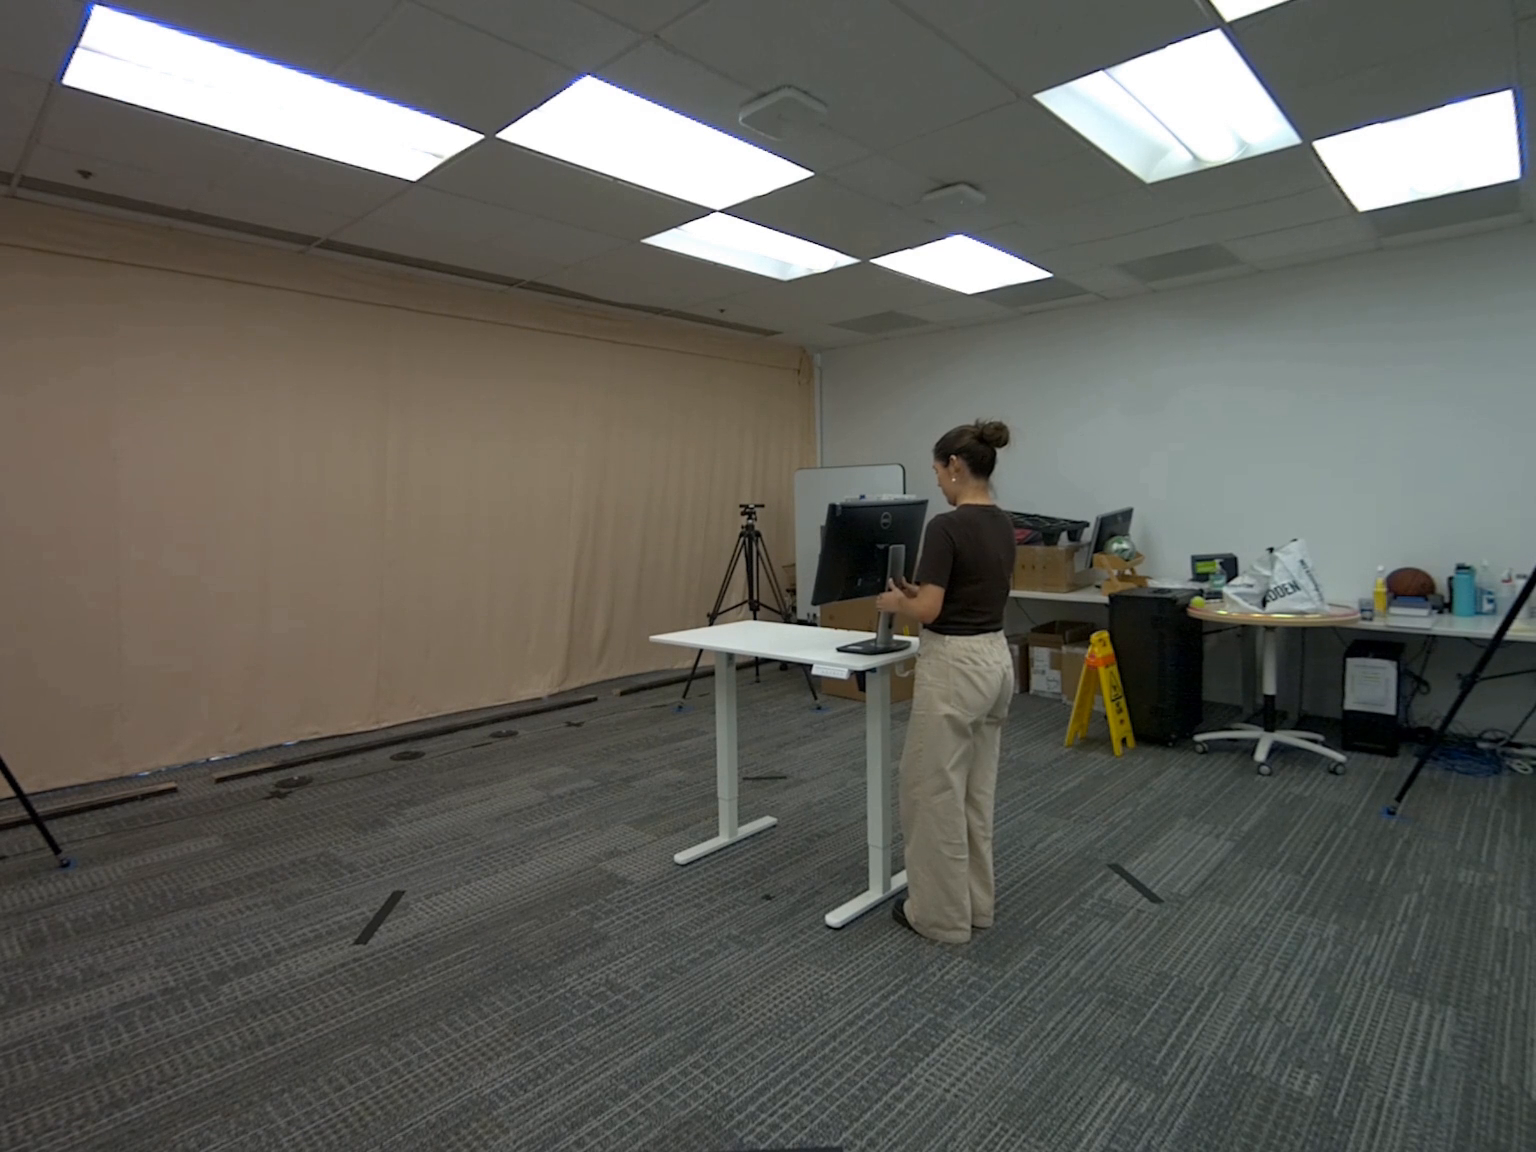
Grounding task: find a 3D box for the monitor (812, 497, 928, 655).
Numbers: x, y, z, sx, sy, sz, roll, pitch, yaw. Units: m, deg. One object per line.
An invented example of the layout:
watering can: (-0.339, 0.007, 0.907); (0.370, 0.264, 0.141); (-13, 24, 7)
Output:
monitor: (0.389, 0.001, 2.914); (0.193, 0.521, 0.523); (5, 7, 44)
